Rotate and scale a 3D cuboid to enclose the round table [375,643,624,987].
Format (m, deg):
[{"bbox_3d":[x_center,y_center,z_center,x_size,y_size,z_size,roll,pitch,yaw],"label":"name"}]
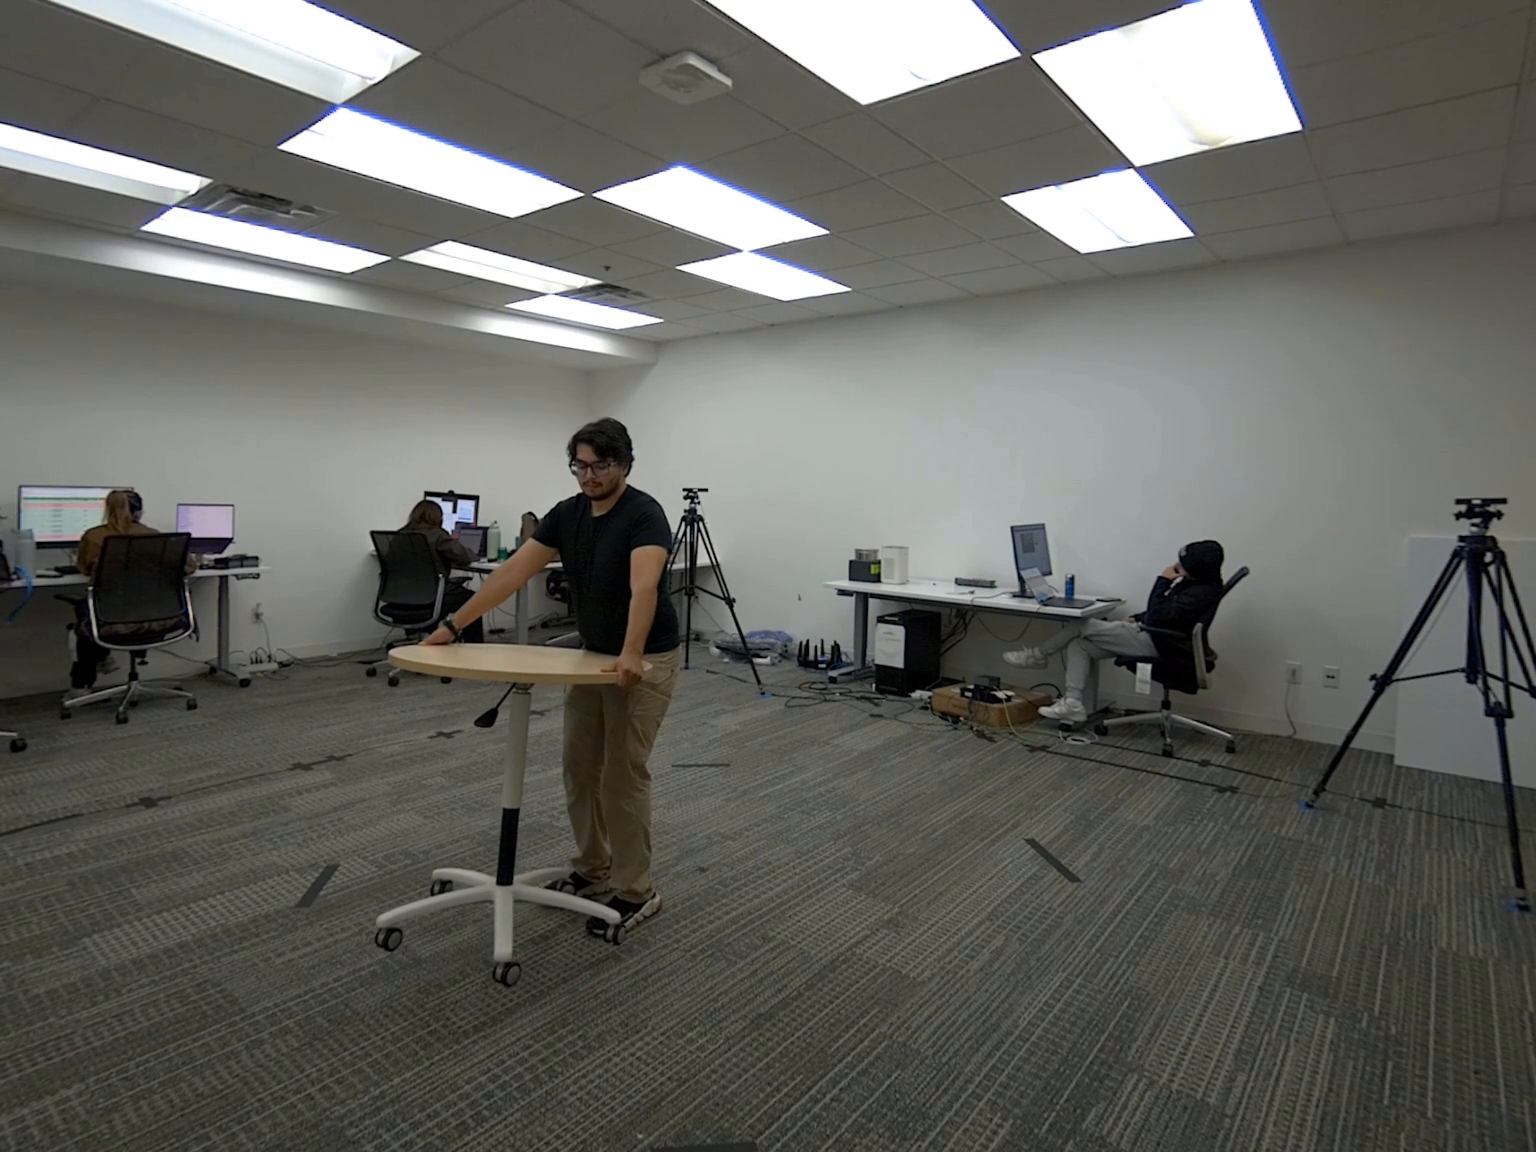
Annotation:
[{"bbox_3d":[-0.754,0.644,2.506,0.784,0.788,0.784,4,-2,-2],"label":"round table"}]
